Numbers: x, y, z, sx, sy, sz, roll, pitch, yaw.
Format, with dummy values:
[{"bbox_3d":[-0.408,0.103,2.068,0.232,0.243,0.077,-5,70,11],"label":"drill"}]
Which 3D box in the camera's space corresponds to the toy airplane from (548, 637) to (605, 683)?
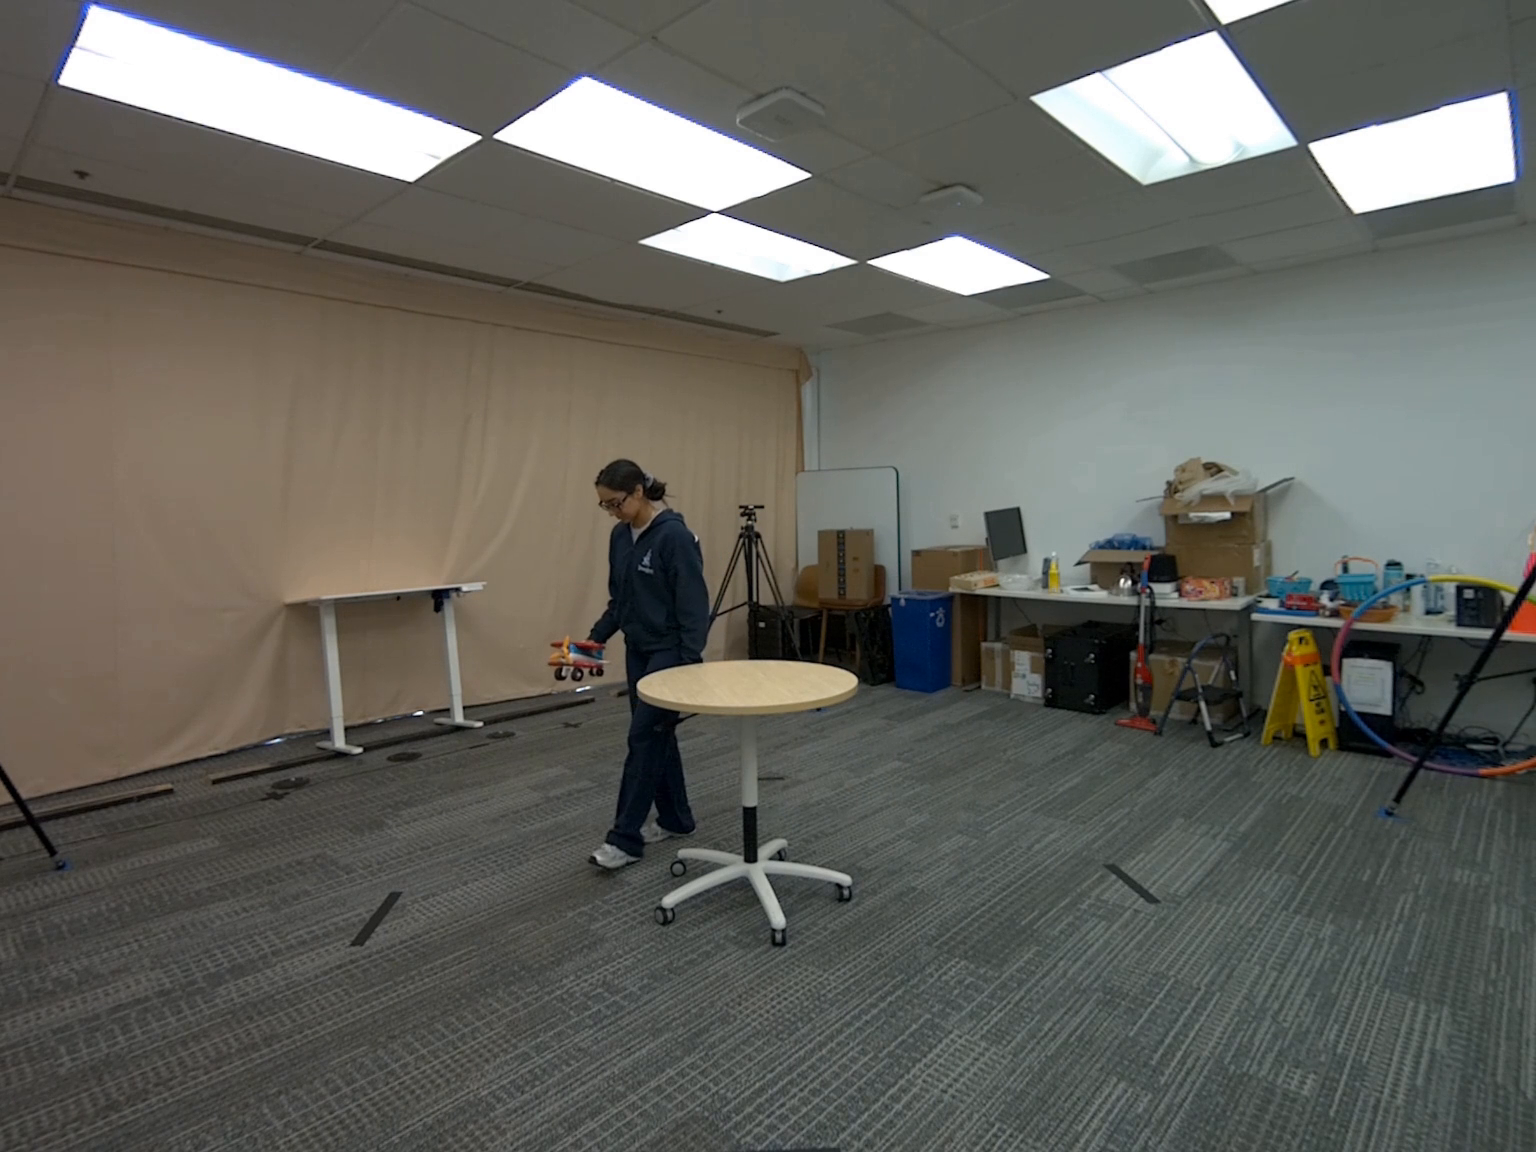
[{"bbox_3d":[-0.778,0.341,3.450,0.252,0.156,0.258,-1,0,2],"label":"toy airplane"}]
